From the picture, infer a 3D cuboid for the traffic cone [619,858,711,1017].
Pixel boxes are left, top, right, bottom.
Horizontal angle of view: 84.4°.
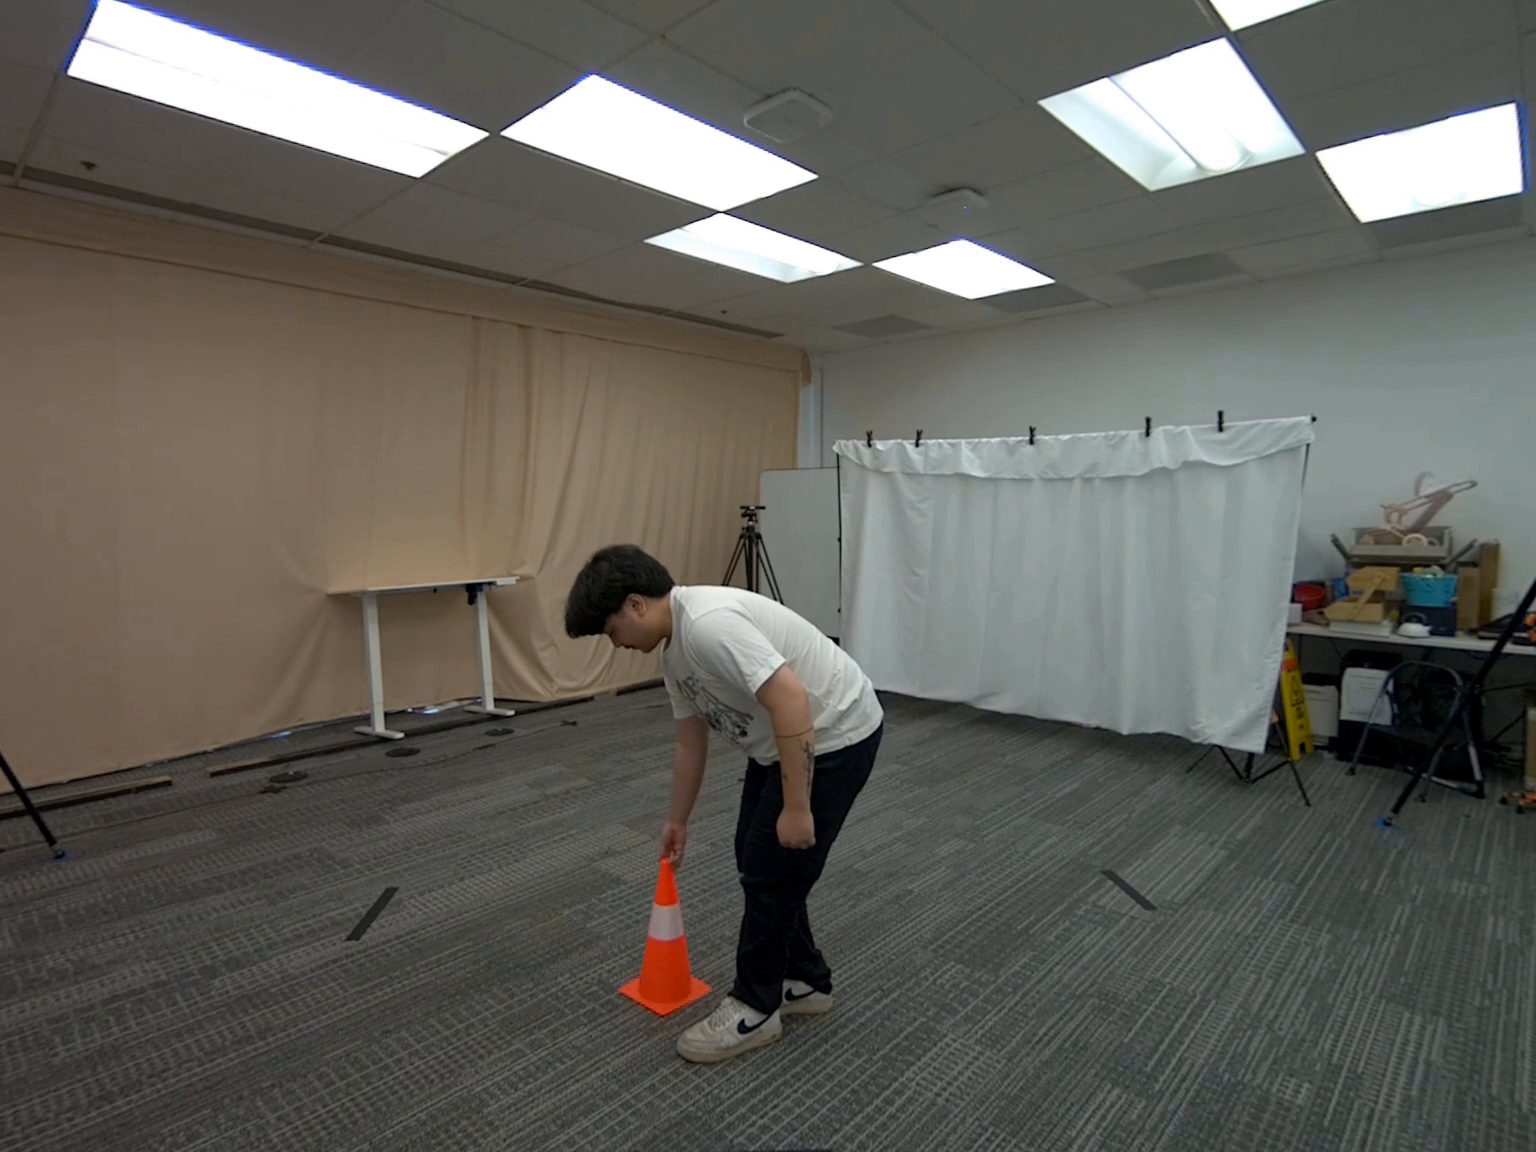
[{"bbox_3d":[-0.293,1.006,2.413,0.210,0.383,0.199,2,3,36],"label":"traffic cone"}]
